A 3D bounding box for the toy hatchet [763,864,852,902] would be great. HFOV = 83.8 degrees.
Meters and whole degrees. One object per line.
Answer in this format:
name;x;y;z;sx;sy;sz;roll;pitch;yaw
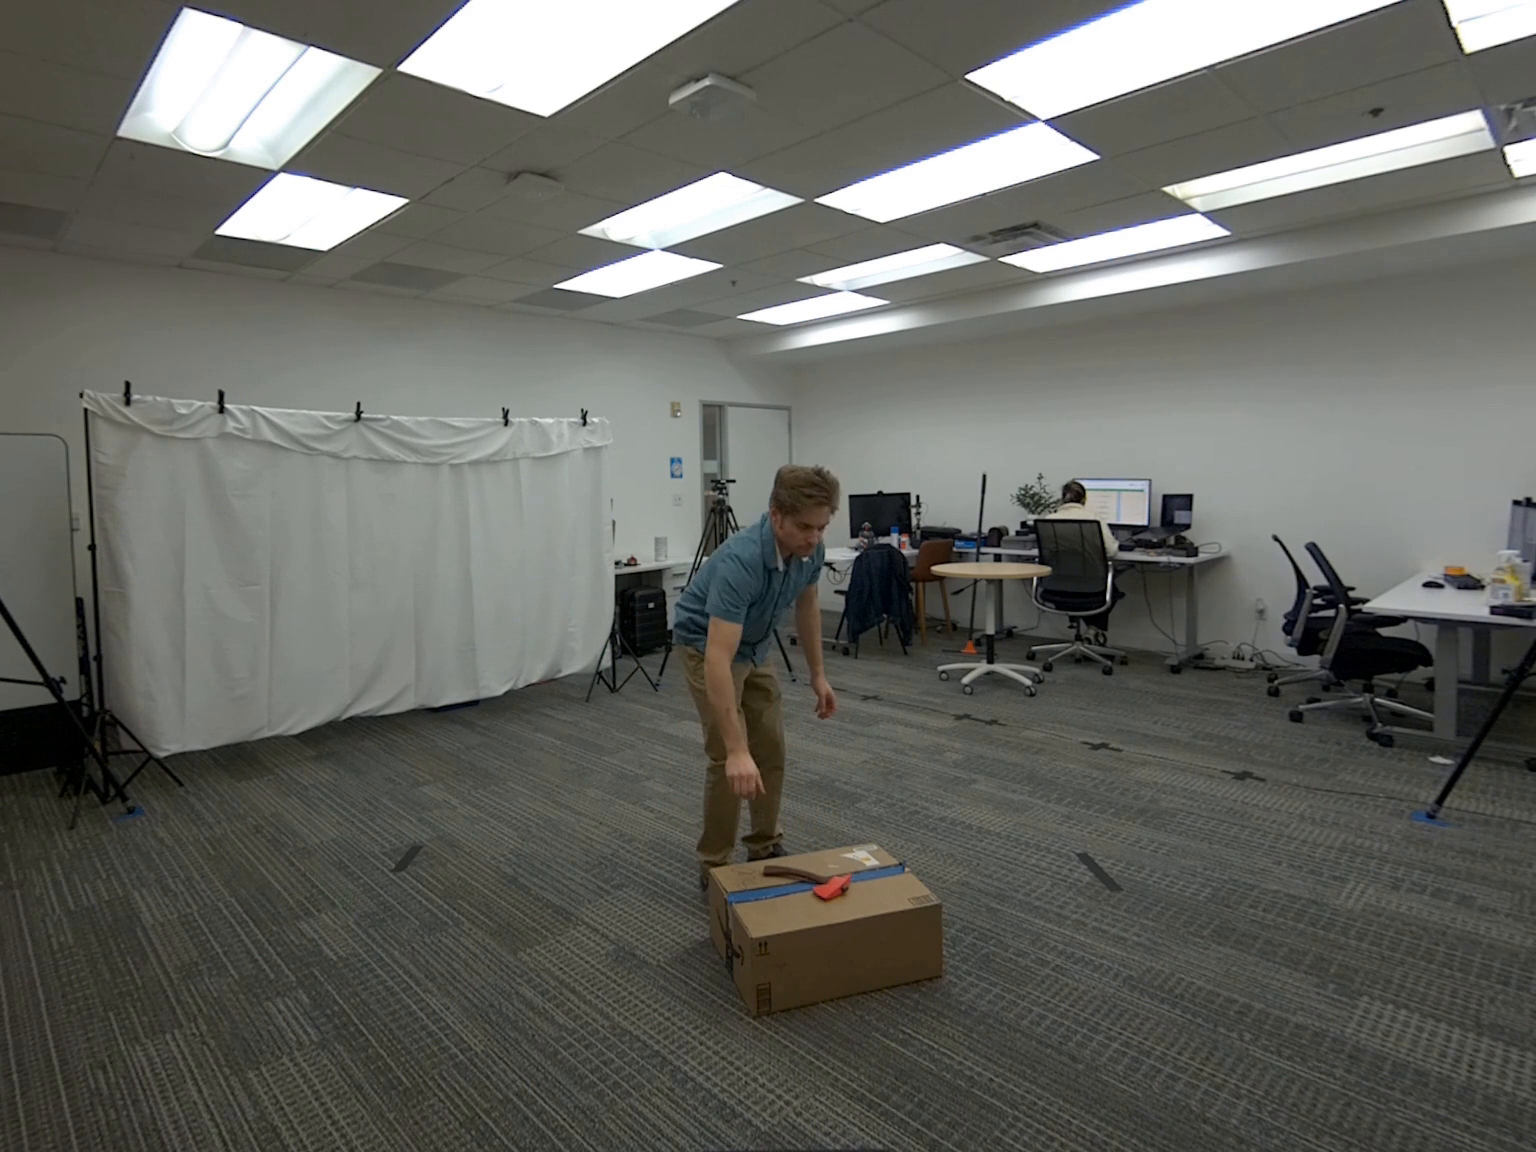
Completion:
toy hatchet;0.102;0.880;2.481;0.276;0.029;0.129;-2;11;23
